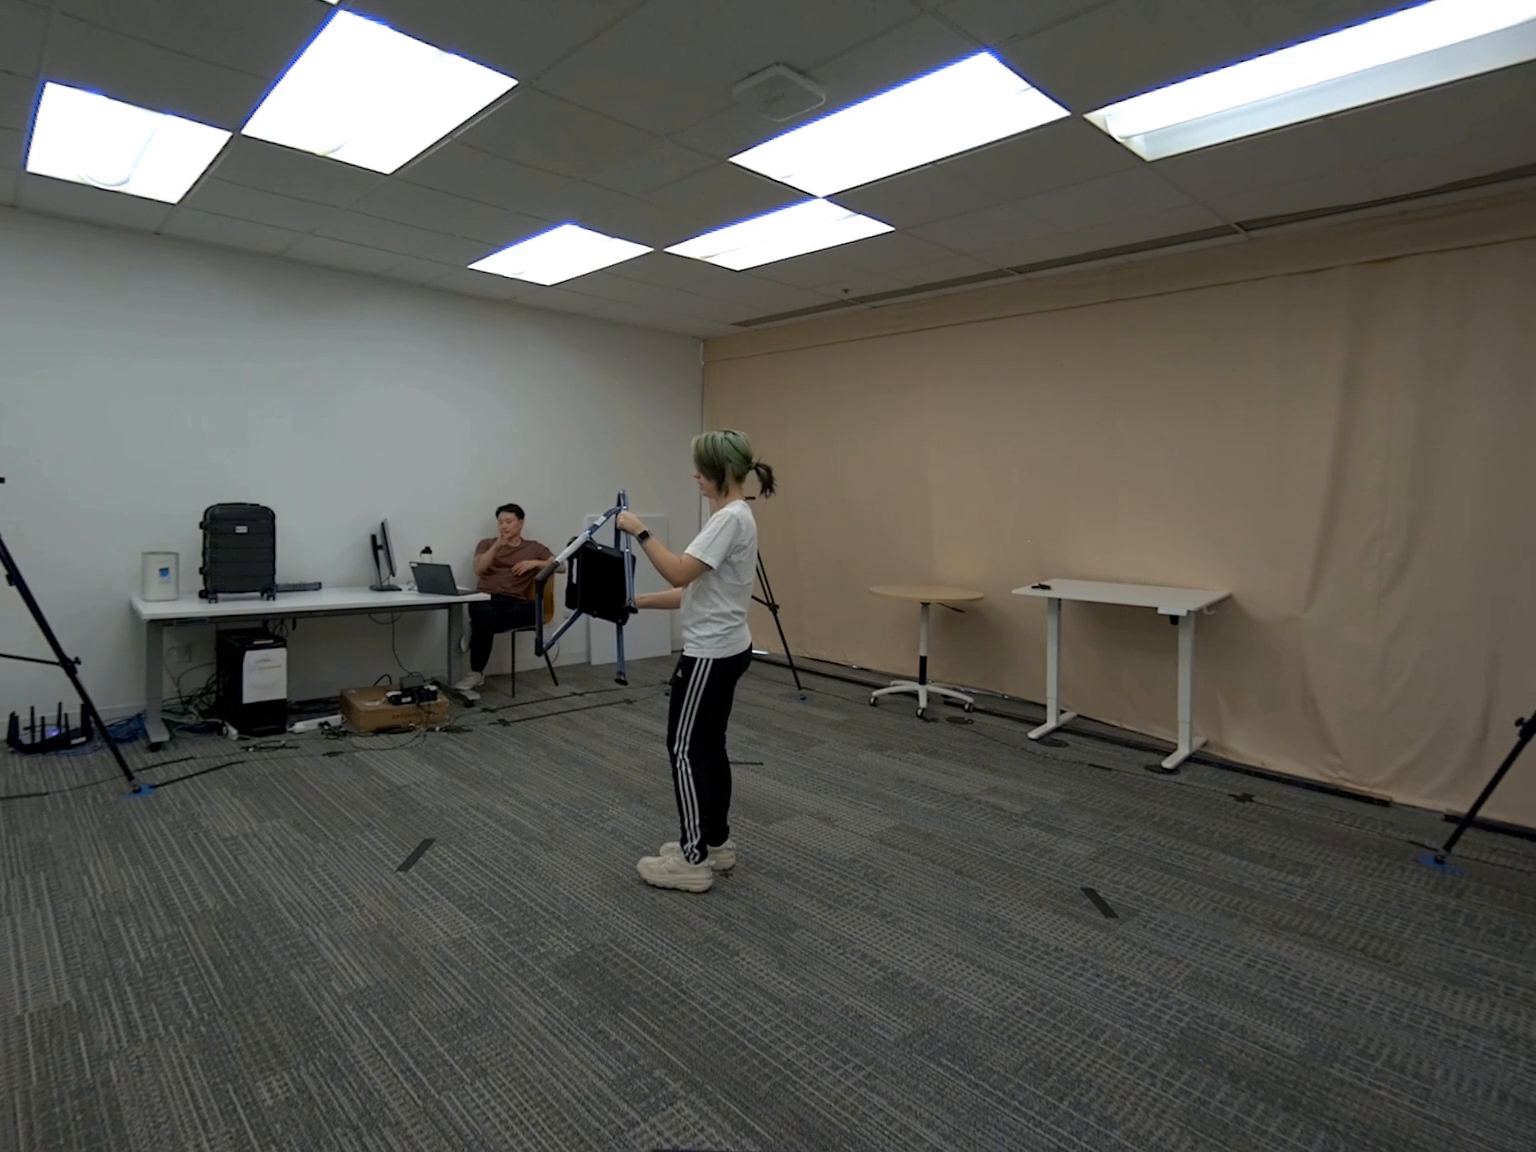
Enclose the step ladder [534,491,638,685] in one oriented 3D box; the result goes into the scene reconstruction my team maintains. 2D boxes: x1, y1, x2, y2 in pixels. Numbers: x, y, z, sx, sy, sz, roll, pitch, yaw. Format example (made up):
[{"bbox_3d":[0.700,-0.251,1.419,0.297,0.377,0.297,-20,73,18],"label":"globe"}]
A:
[{"bbox_3d":[-0.570,-0.006,3.050,0.350,0.424,0.614,16,44,0],"label":"step ladder"}]
